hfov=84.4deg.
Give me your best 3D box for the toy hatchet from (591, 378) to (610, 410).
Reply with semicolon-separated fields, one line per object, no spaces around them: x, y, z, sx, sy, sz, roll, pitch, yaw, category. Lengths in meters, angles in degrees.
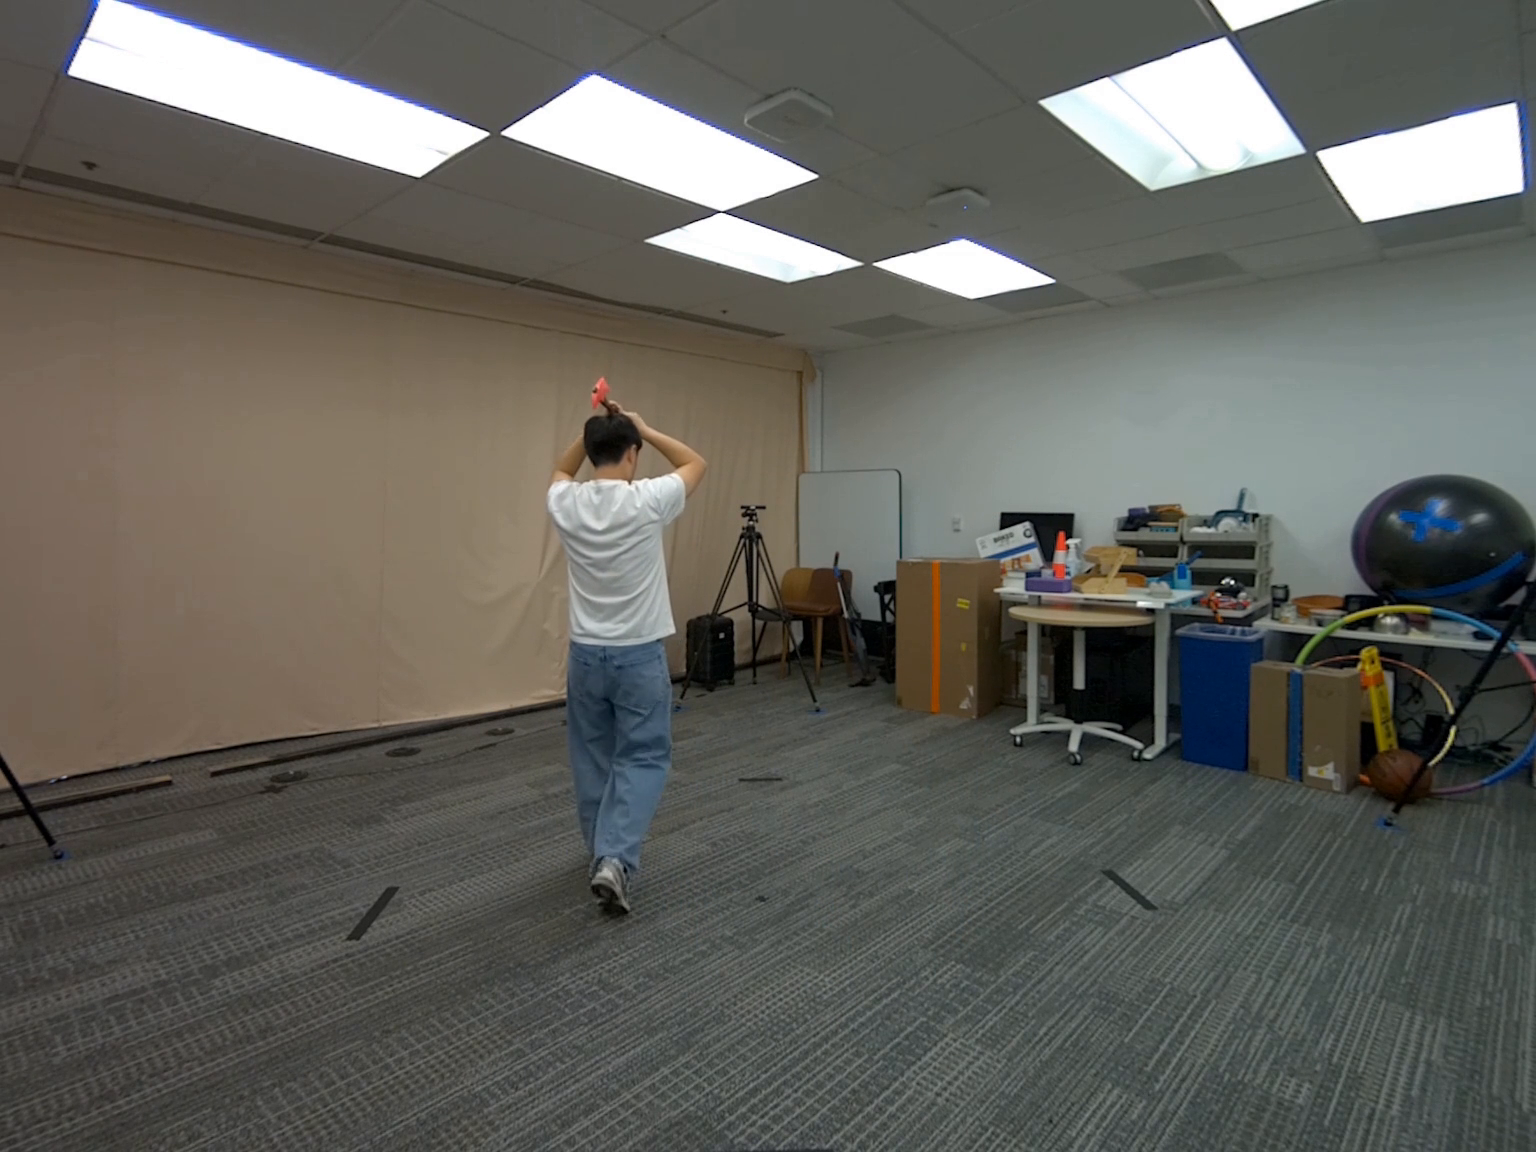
-0.578;-0.649;3.141;0.030;0.132;0.263;-5;-8;19;toy hatchet
